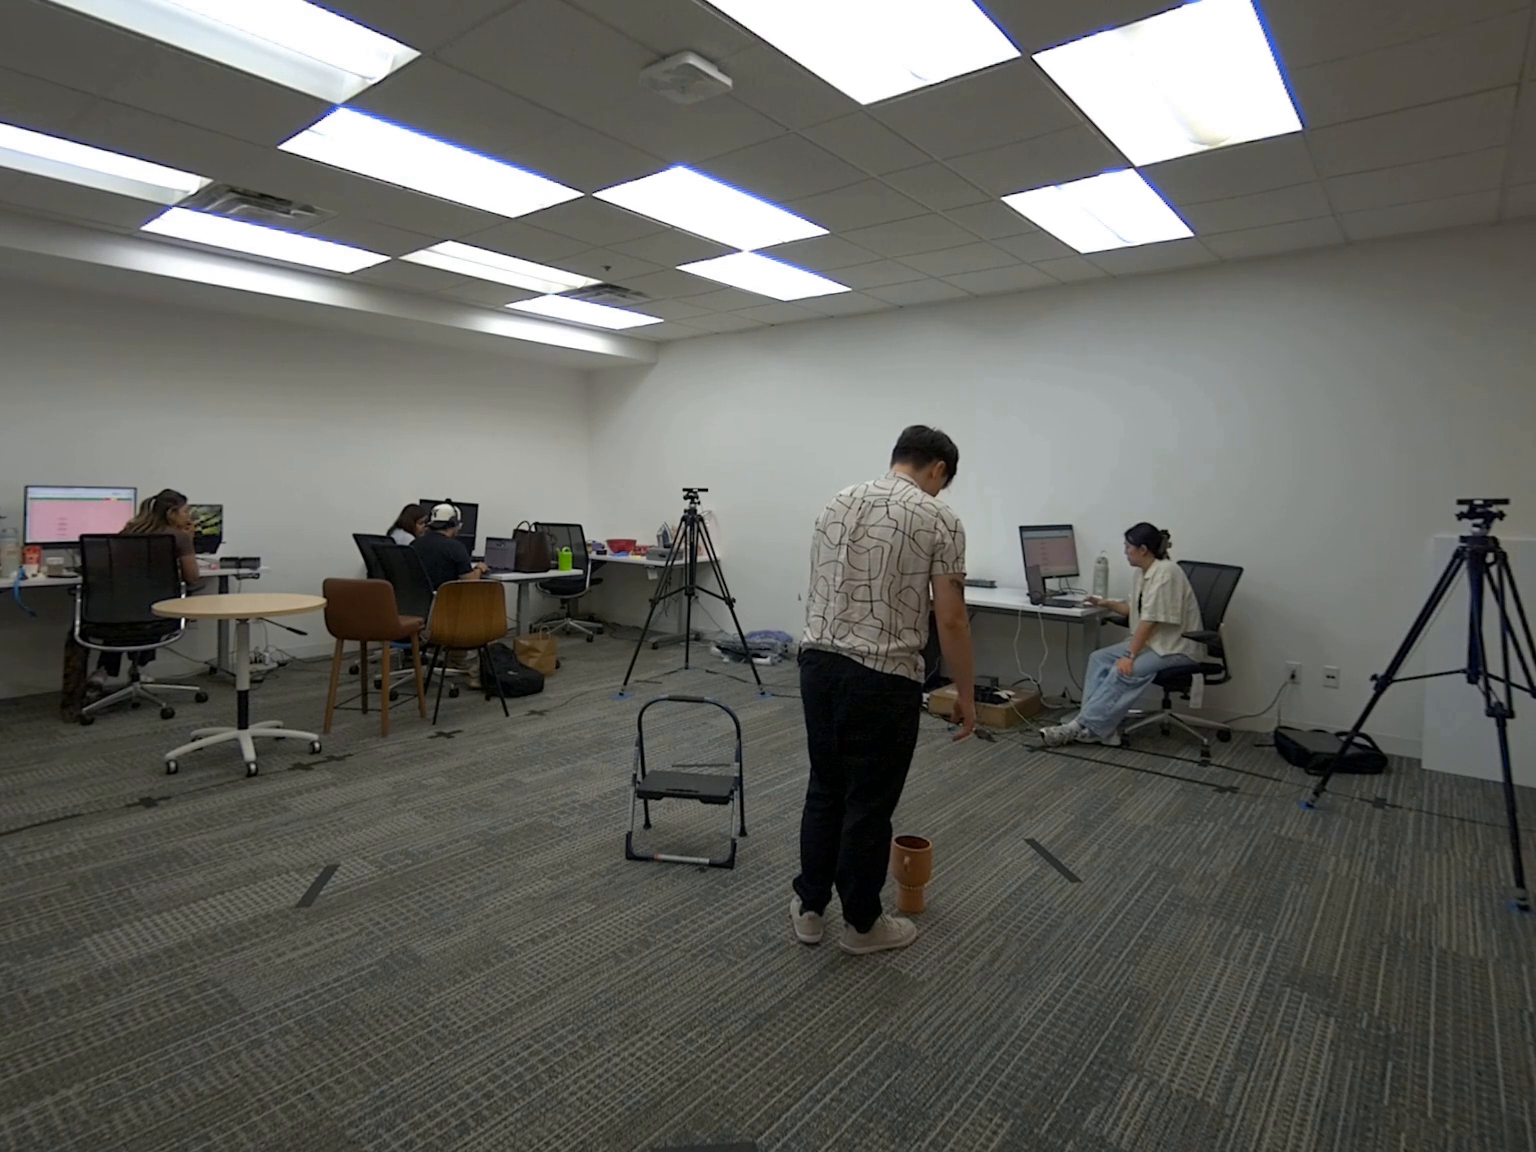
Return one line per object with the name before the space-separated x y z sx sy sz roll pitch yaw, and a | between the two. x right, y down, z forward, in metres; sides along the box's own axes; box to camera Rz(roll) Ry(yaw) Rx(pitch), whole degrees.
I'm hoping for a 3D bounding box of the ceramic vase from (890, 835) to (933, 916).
ceramic vase | 0.474 0.996 2.866 0.154 0.219 0.139 -1 4 -31
